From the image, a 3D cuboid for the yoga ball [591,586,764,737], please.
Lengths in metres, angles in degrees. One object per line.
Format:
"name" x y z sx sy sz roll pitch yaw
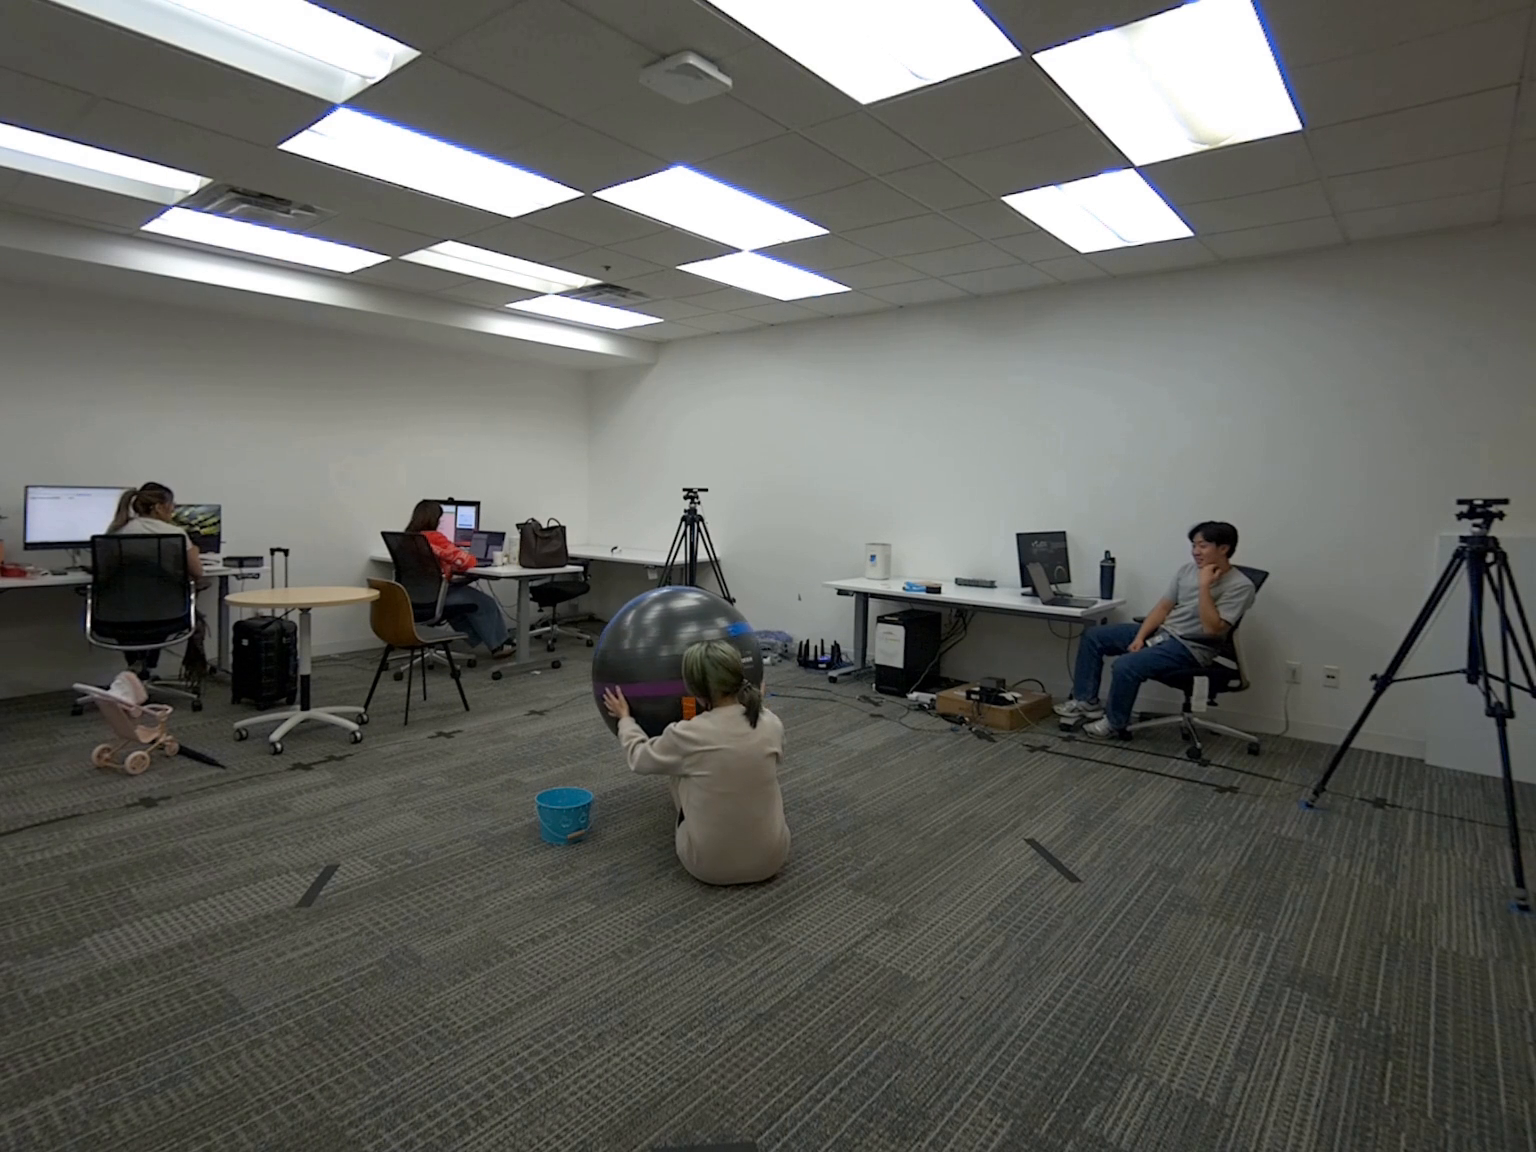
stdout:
"yoga ball" -0.420 0.425 3.736 0.757 0.756 0.761 1 4 -2
